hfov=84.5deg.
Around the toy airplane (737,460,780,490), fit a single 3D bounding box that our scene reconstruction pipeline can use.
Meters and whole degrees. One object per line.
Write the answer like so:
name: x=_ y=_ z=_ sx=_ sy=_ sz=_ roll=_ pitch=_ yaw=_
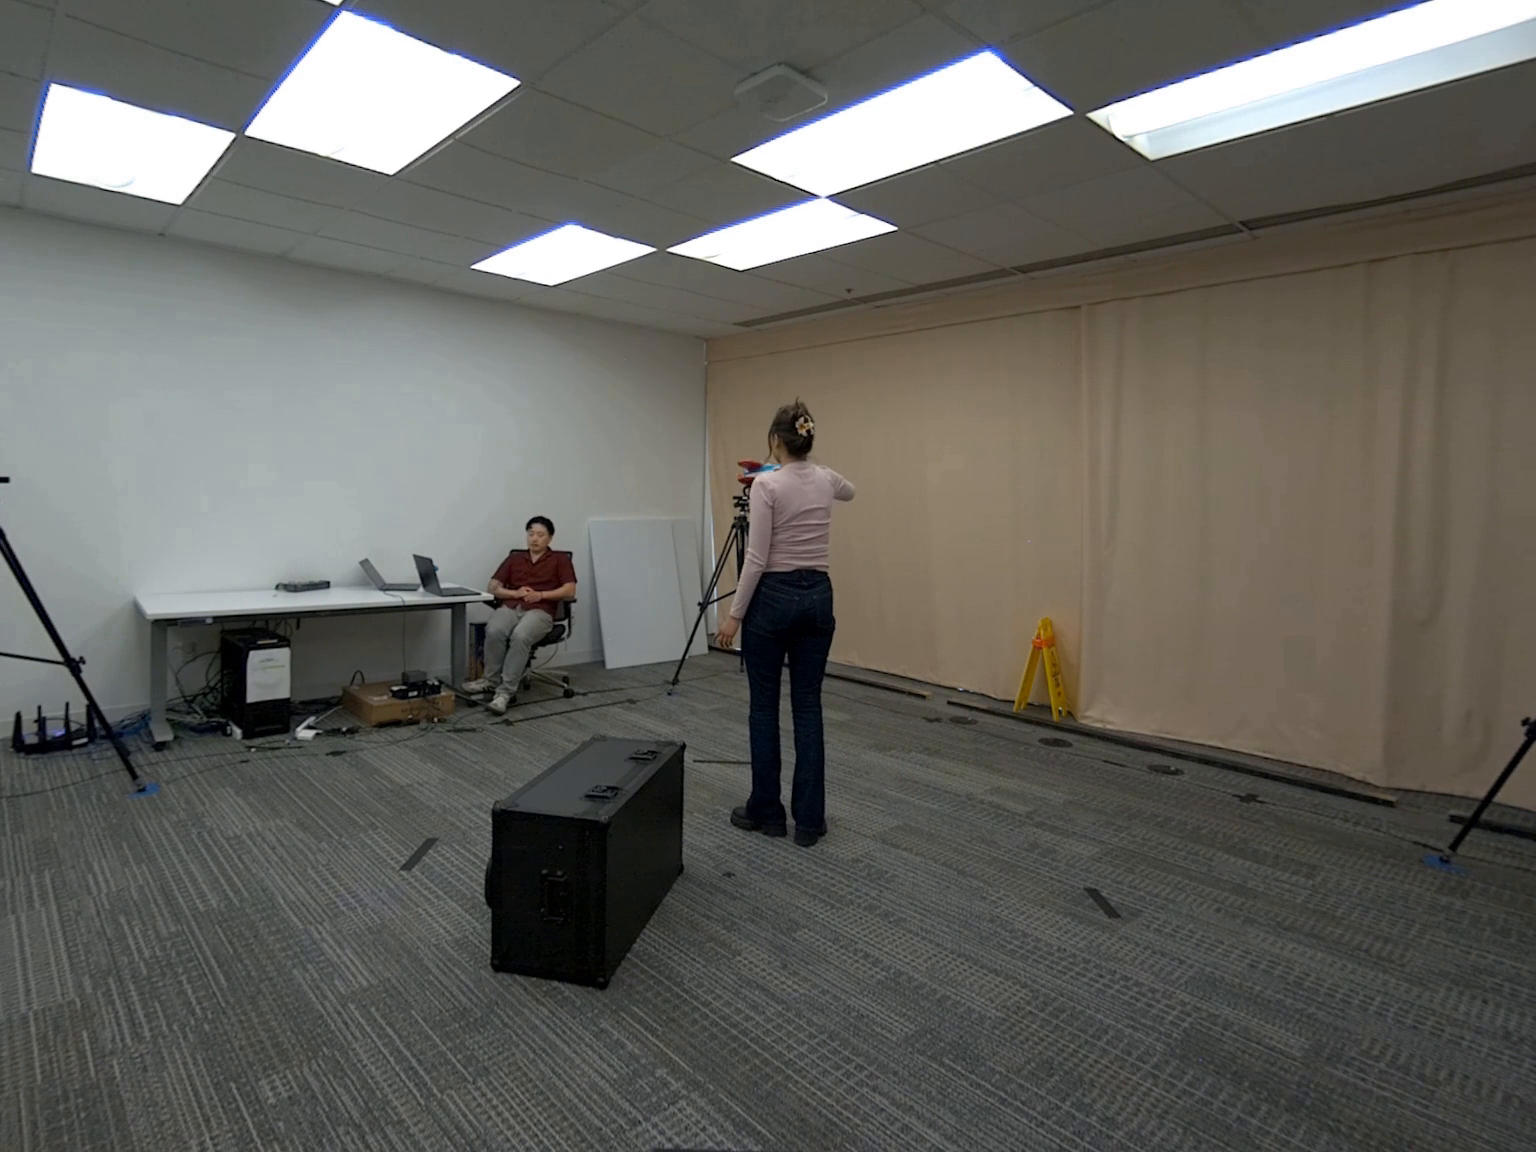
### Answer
toy airplane: x=-0.009 y=-0.461 z=3.966 sx=0.261 sy=0.159 sz=0.245 roll=-15 pitch=-18 yaw=11
